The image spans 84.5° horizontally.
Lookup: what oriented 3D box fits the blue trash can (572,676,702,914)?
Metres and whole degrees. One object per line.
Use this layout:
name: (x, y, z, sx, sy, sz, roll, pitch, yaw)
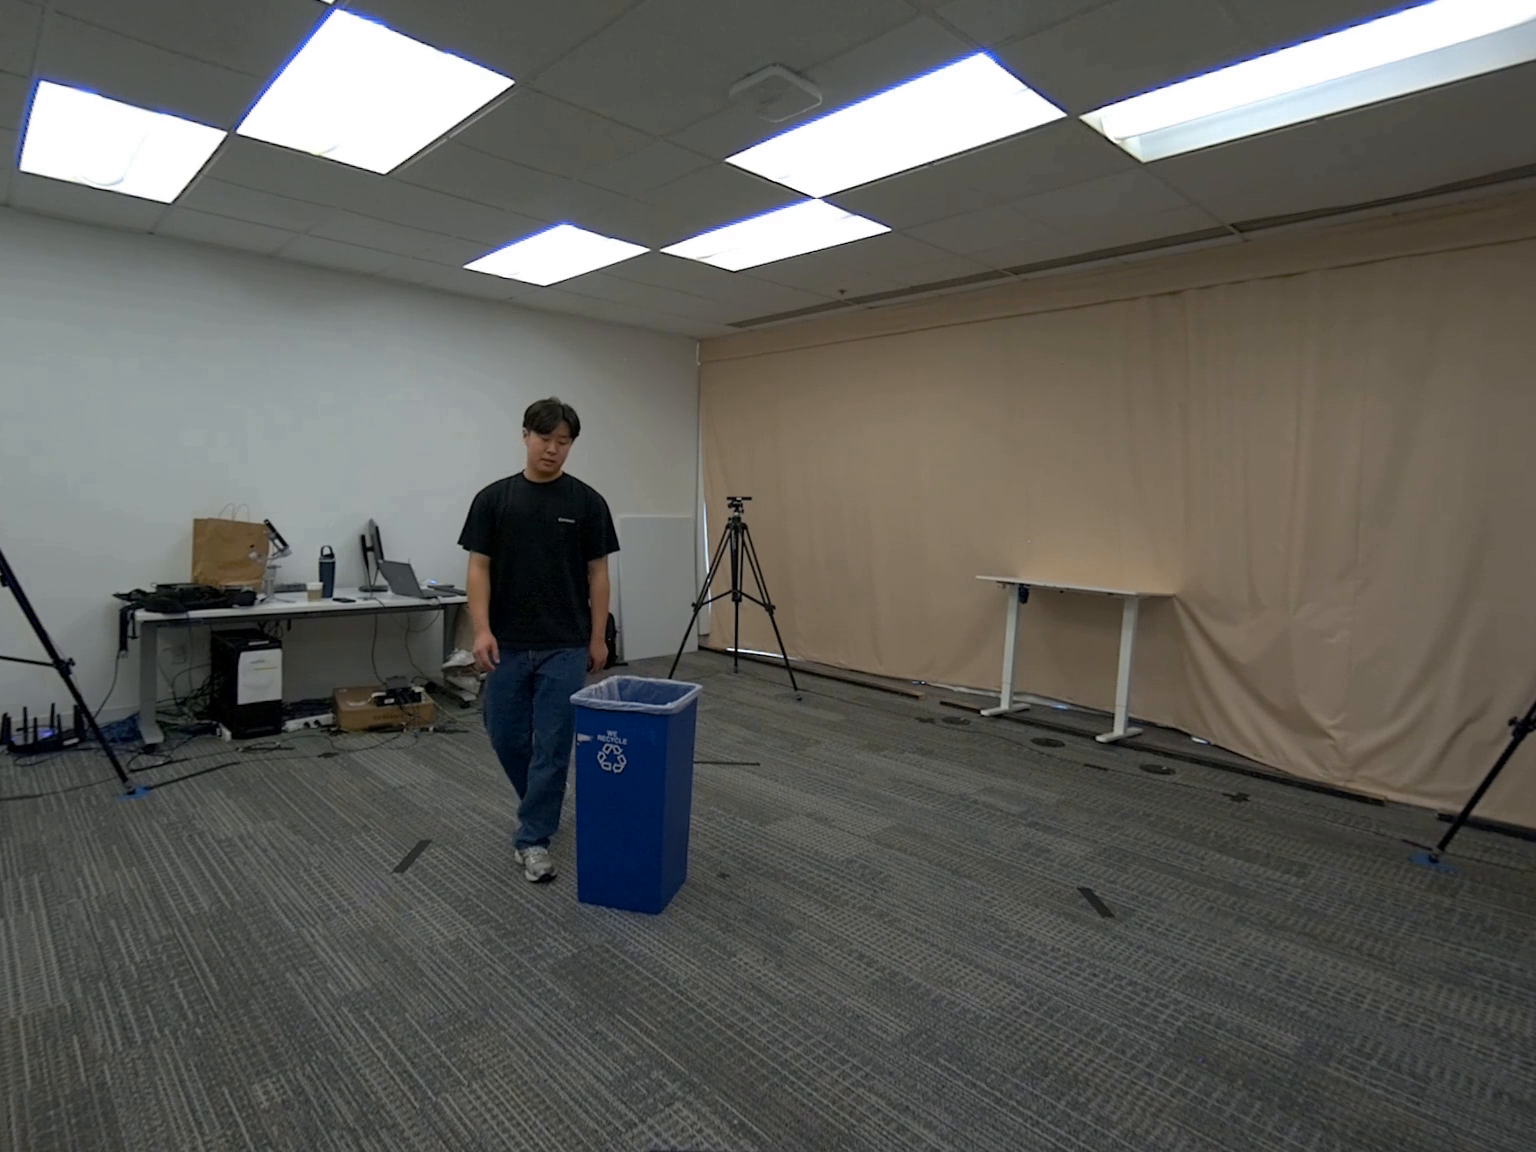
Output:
blue trash can: (-0.473, 0.756, 2.954, 0.379, 0.712, 0.374, 4, 4, 14)
